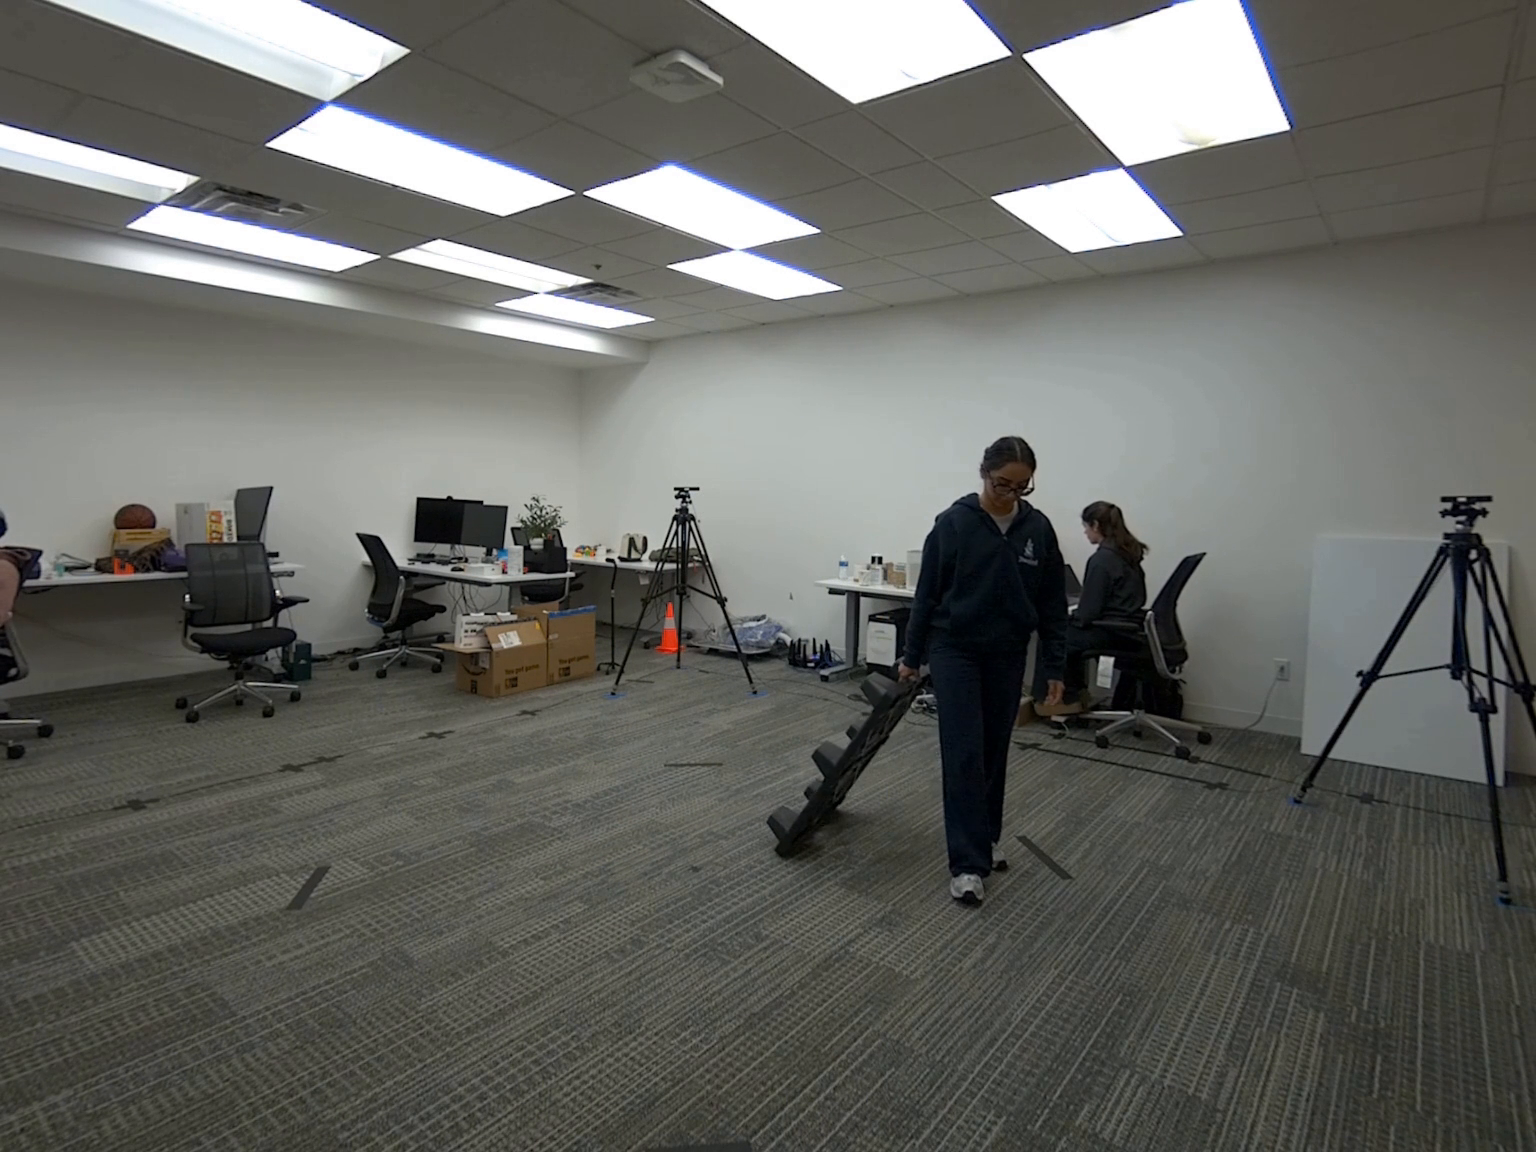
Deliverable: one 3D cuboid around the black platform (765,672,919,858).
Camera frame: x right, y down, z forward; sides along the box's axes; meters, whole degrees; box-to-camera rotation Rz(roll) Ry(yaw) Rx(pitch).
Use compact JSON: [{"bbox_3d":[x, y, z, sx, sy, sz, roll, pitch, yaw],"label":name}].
[{"bbox_3d":[0.317,0.685,3.364,0.147,0.802,0.591,37,18,19],"label":"black platform"}]
